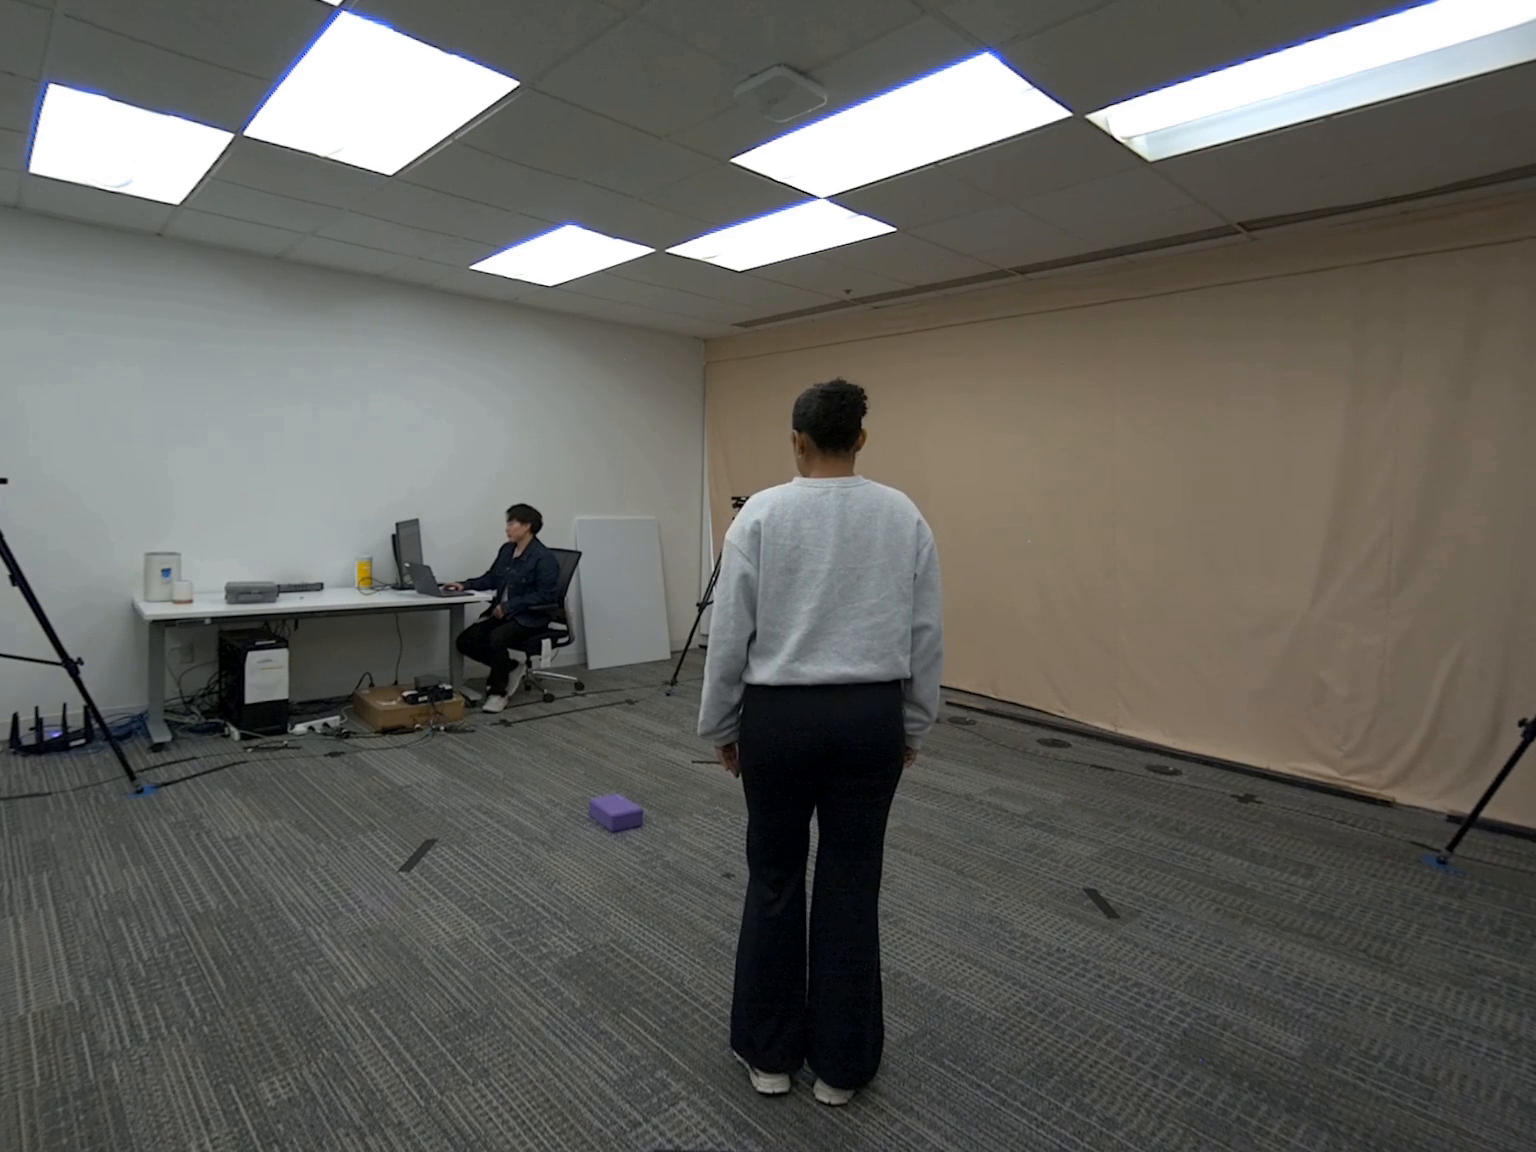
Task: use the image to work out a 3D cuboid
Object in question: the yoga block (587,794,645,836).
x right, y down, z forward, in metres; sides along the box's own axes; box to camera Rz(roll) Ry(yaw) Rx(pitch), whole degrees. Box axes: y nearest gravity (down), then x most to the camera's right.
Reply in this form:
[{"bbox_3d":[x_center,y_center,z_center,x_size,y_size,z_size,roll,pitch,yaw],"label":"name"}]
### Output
[{"bbox_3d":[-0.662,1.011,3.601,0.146,0.076,0.235,-2,6,-36],"label":"yoga block"}]
